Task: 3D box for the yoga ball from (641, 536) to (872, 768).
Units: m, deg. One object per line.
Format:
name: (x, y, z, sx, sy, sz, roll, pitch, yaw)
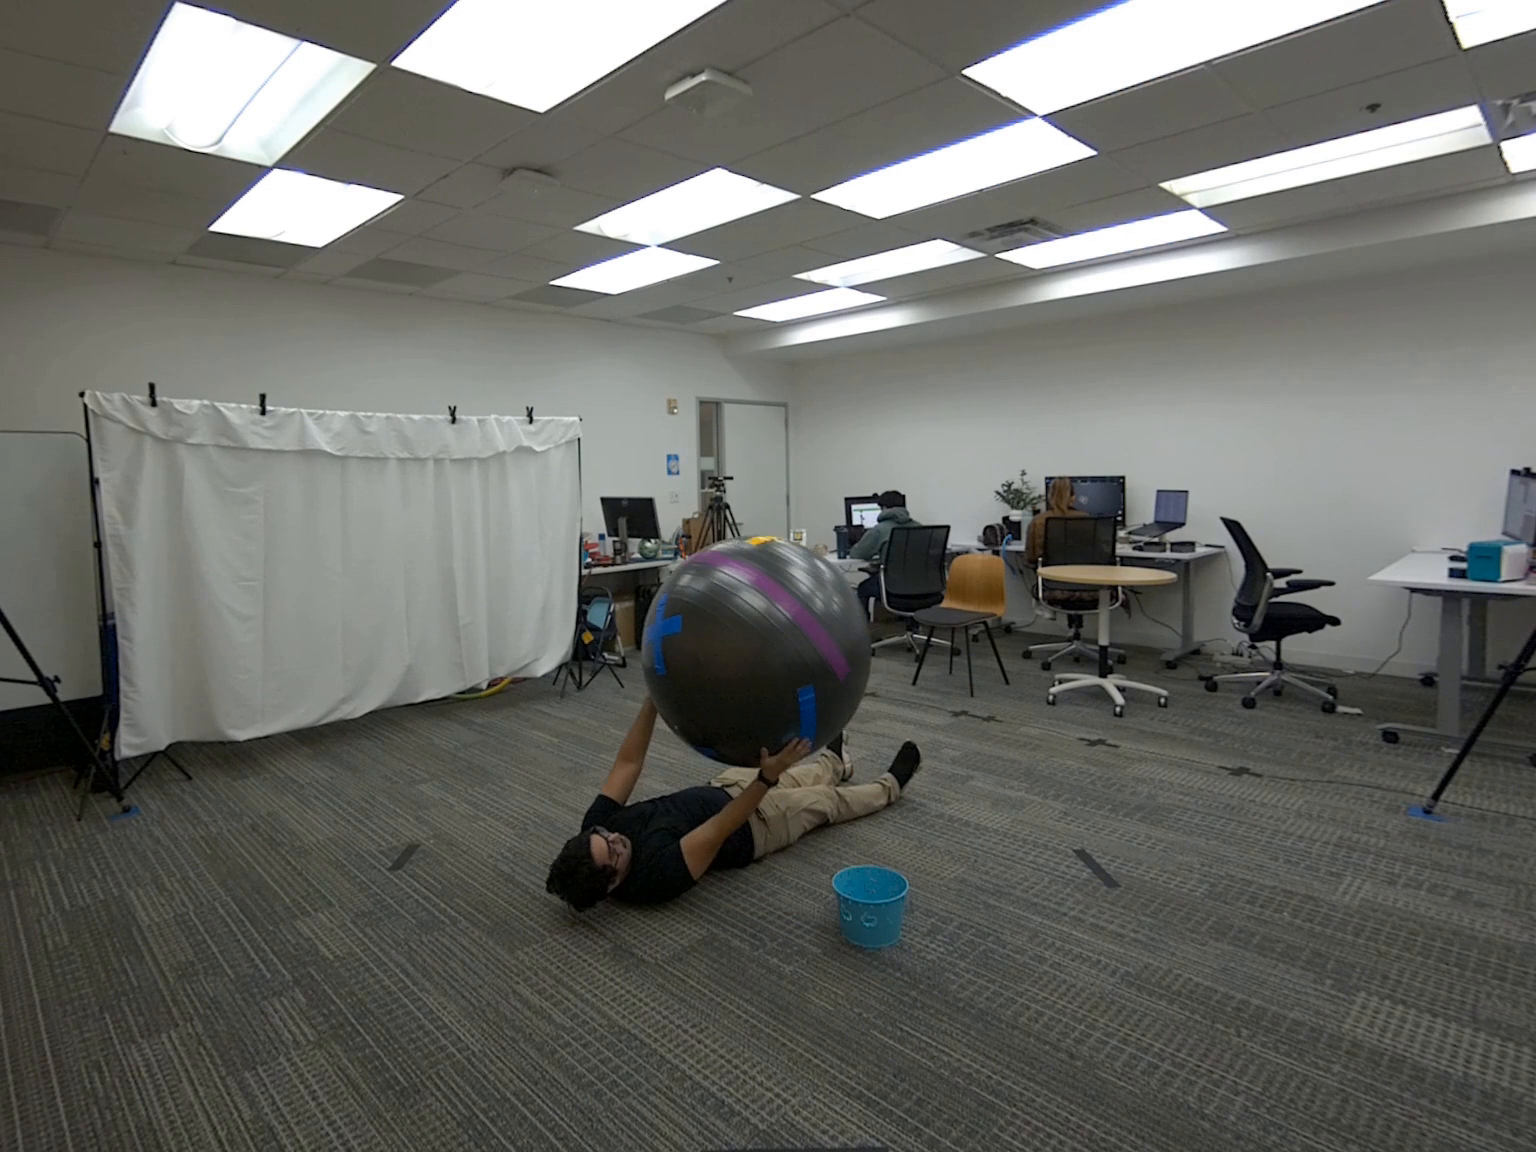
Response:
yoga ball: (-0.033, 0.257, 2.824, 0.757, 0.755, 0.761, -1, 4, -2)
